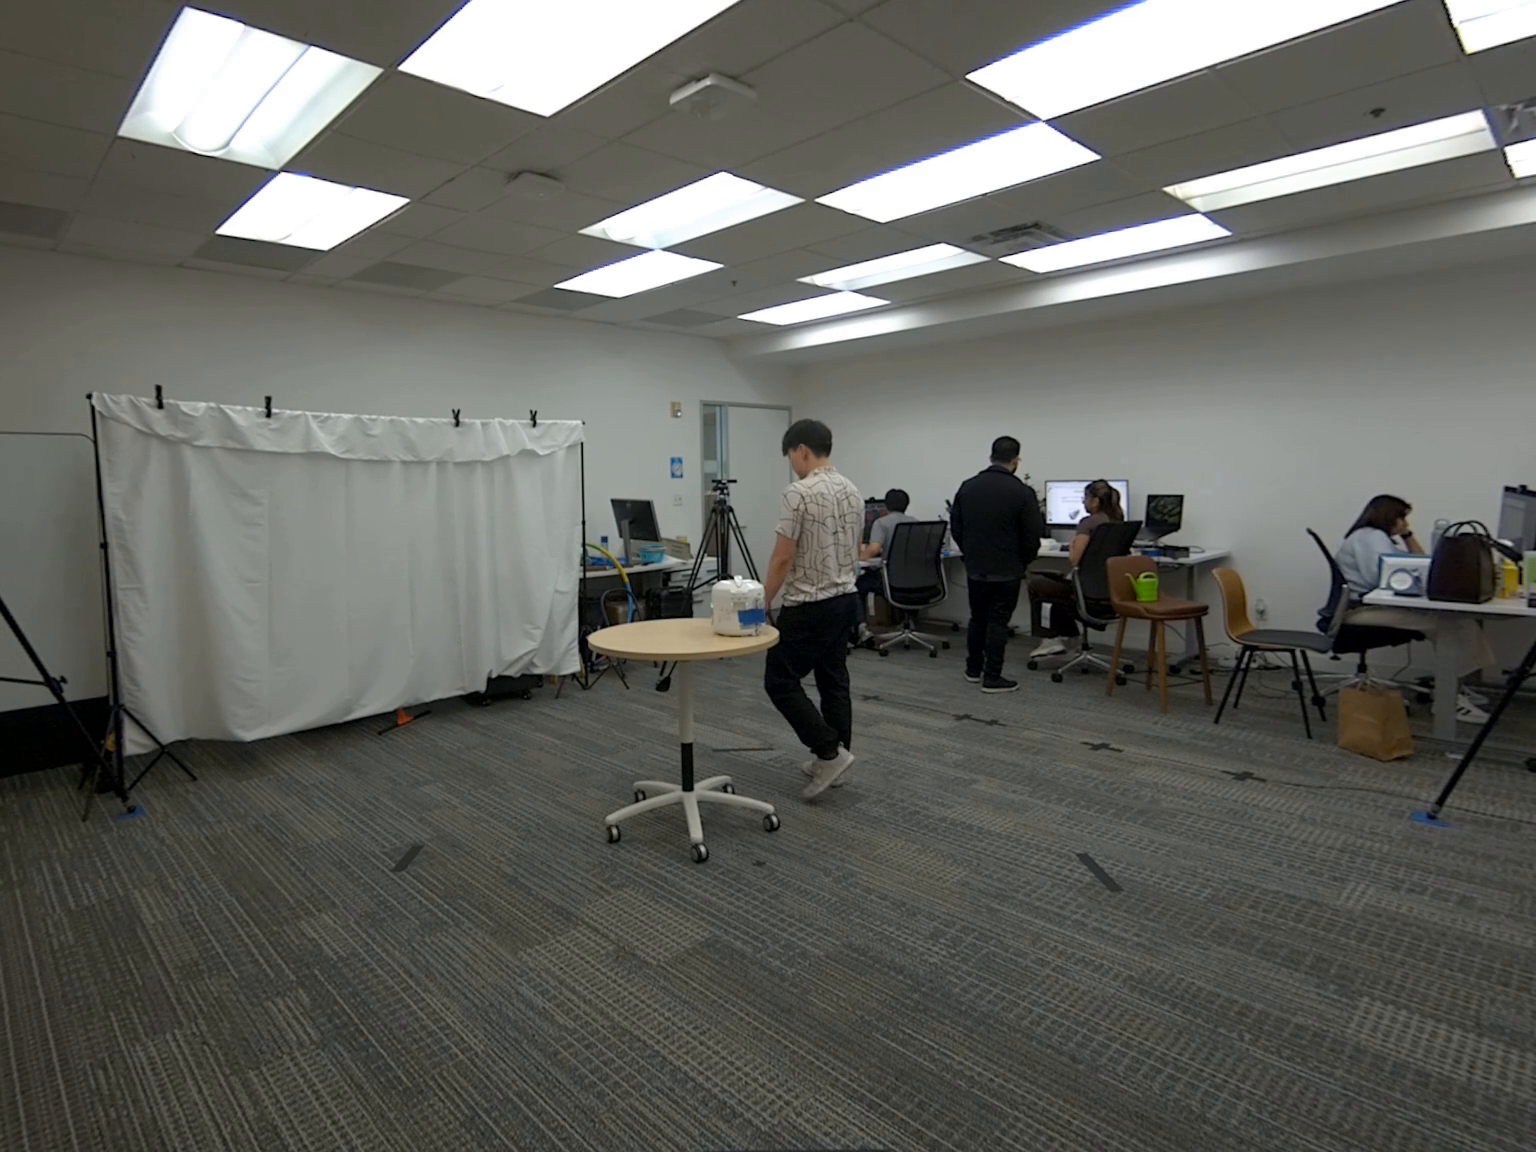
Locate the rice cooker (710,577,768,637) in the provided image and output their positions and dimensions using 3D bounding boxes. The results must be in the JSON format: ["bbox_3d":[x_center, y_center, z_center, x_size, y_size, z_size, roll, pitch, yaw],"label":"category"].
[{"bbox_3d":[-0.123,0.112,3.425,0.217,0.232,0.222,-1,5,-2],"label":"rice cooker"}]
